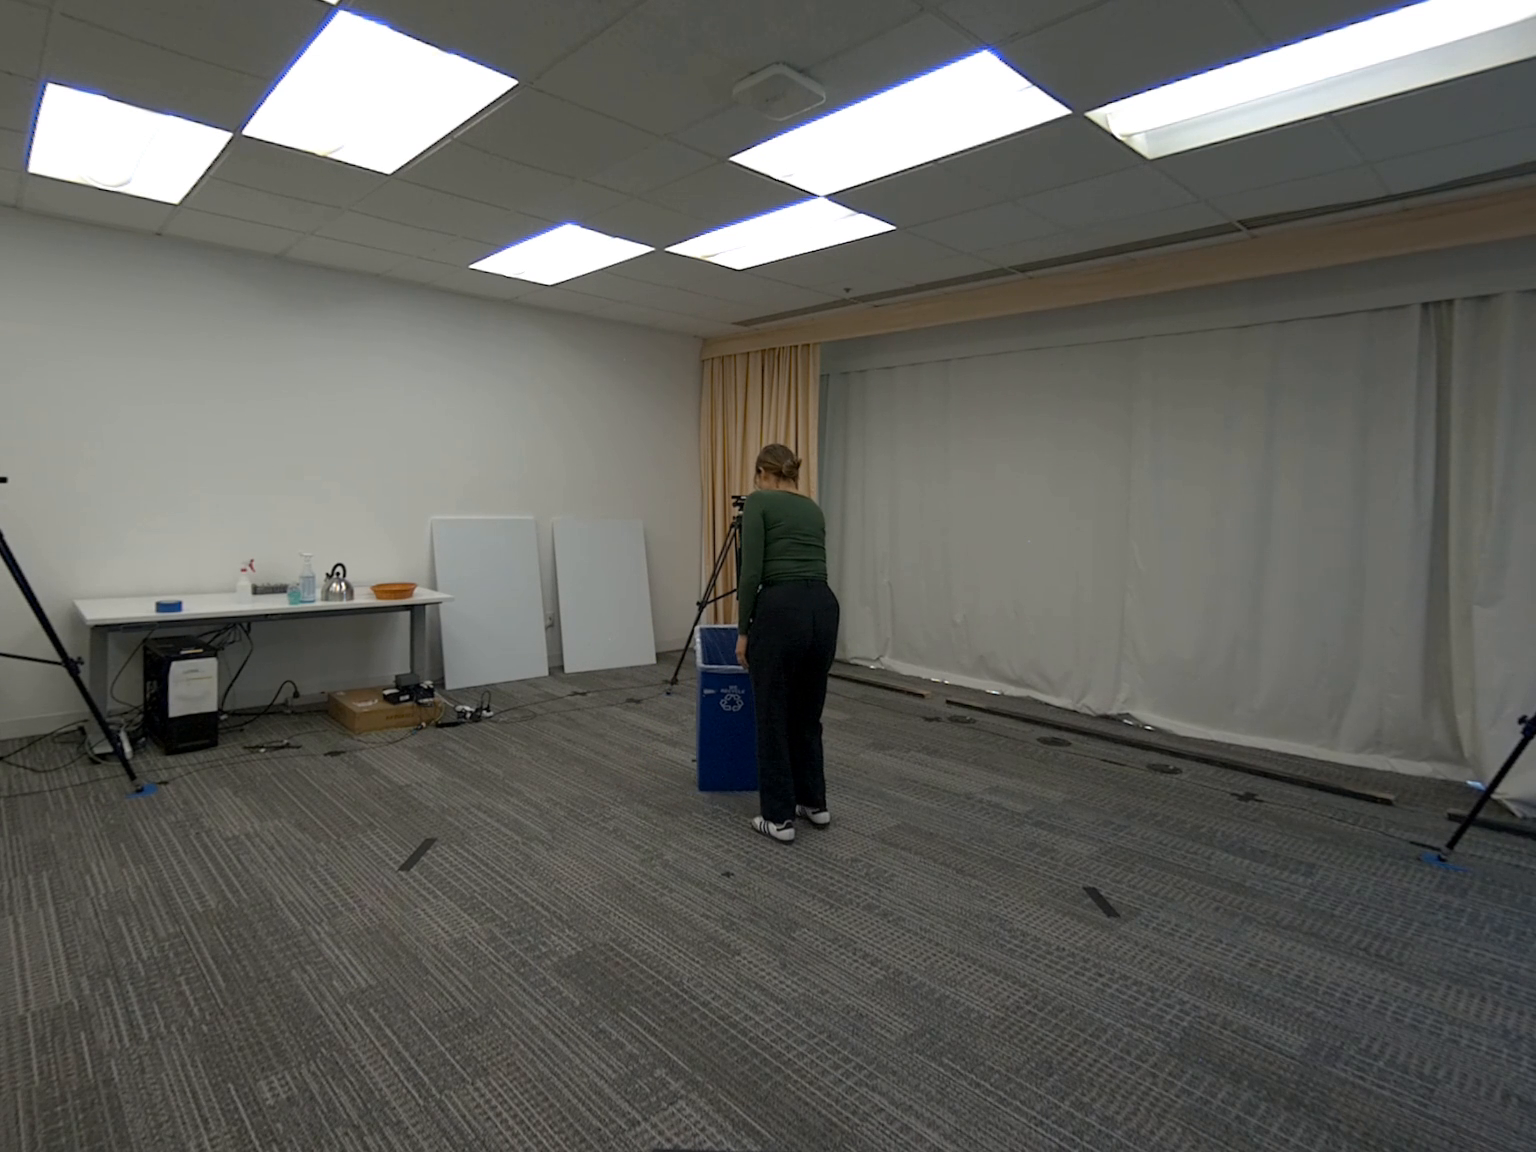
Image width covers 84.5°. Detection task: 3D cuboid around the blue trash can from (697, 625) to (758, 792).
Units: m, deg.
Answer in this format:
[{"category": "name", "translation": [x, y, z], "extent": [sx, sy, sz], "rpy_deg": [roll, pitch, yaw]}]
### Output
[{"category": "blue trash can", "translation": [-0.179, 0.635, 3.995], "extent": [0.376, 0.702, 0.382], "rpy_deg": [1, 26, -8]}]
